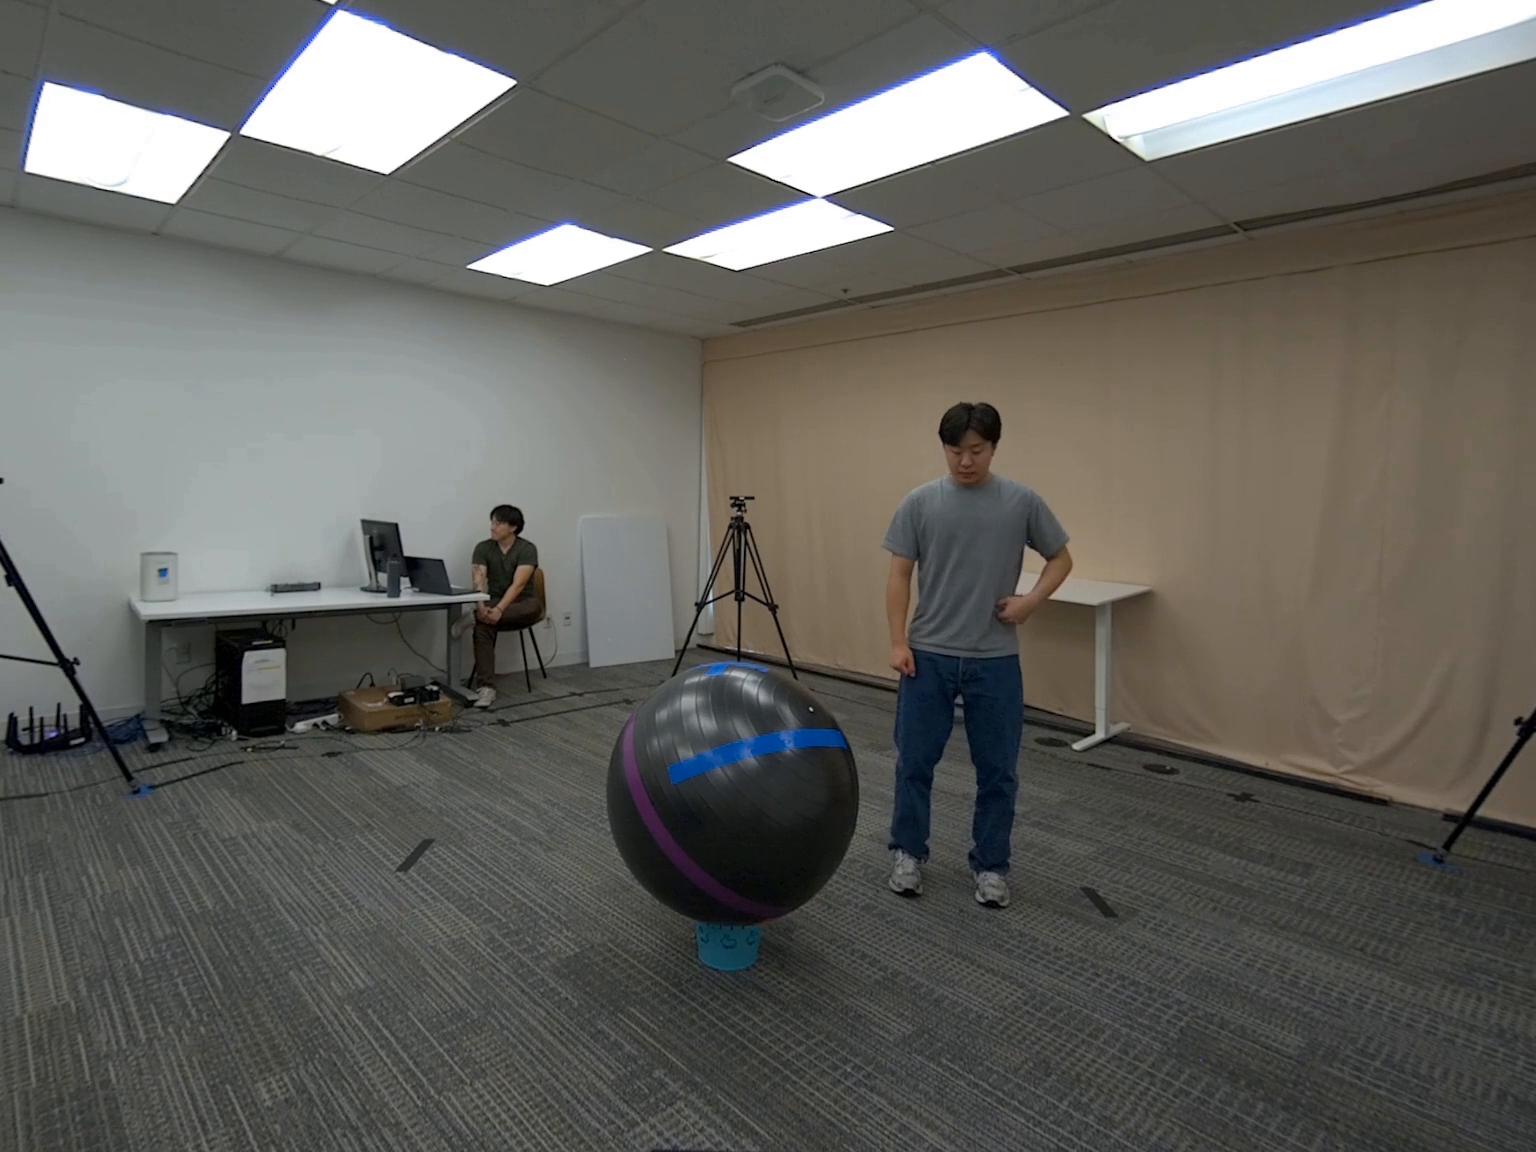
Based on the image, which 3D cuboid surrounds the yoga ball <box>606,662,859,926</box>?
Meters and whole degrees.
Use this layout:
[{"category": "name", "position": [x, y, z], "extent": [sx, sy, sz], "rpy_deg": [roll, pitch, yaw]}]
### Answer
[{"category": "yoga ball", "position": [-0.112, 0.648, 2.543], "extent": [0.757, 0.756, 0.761], "rpy_deg": [1, 4, -1]}]
